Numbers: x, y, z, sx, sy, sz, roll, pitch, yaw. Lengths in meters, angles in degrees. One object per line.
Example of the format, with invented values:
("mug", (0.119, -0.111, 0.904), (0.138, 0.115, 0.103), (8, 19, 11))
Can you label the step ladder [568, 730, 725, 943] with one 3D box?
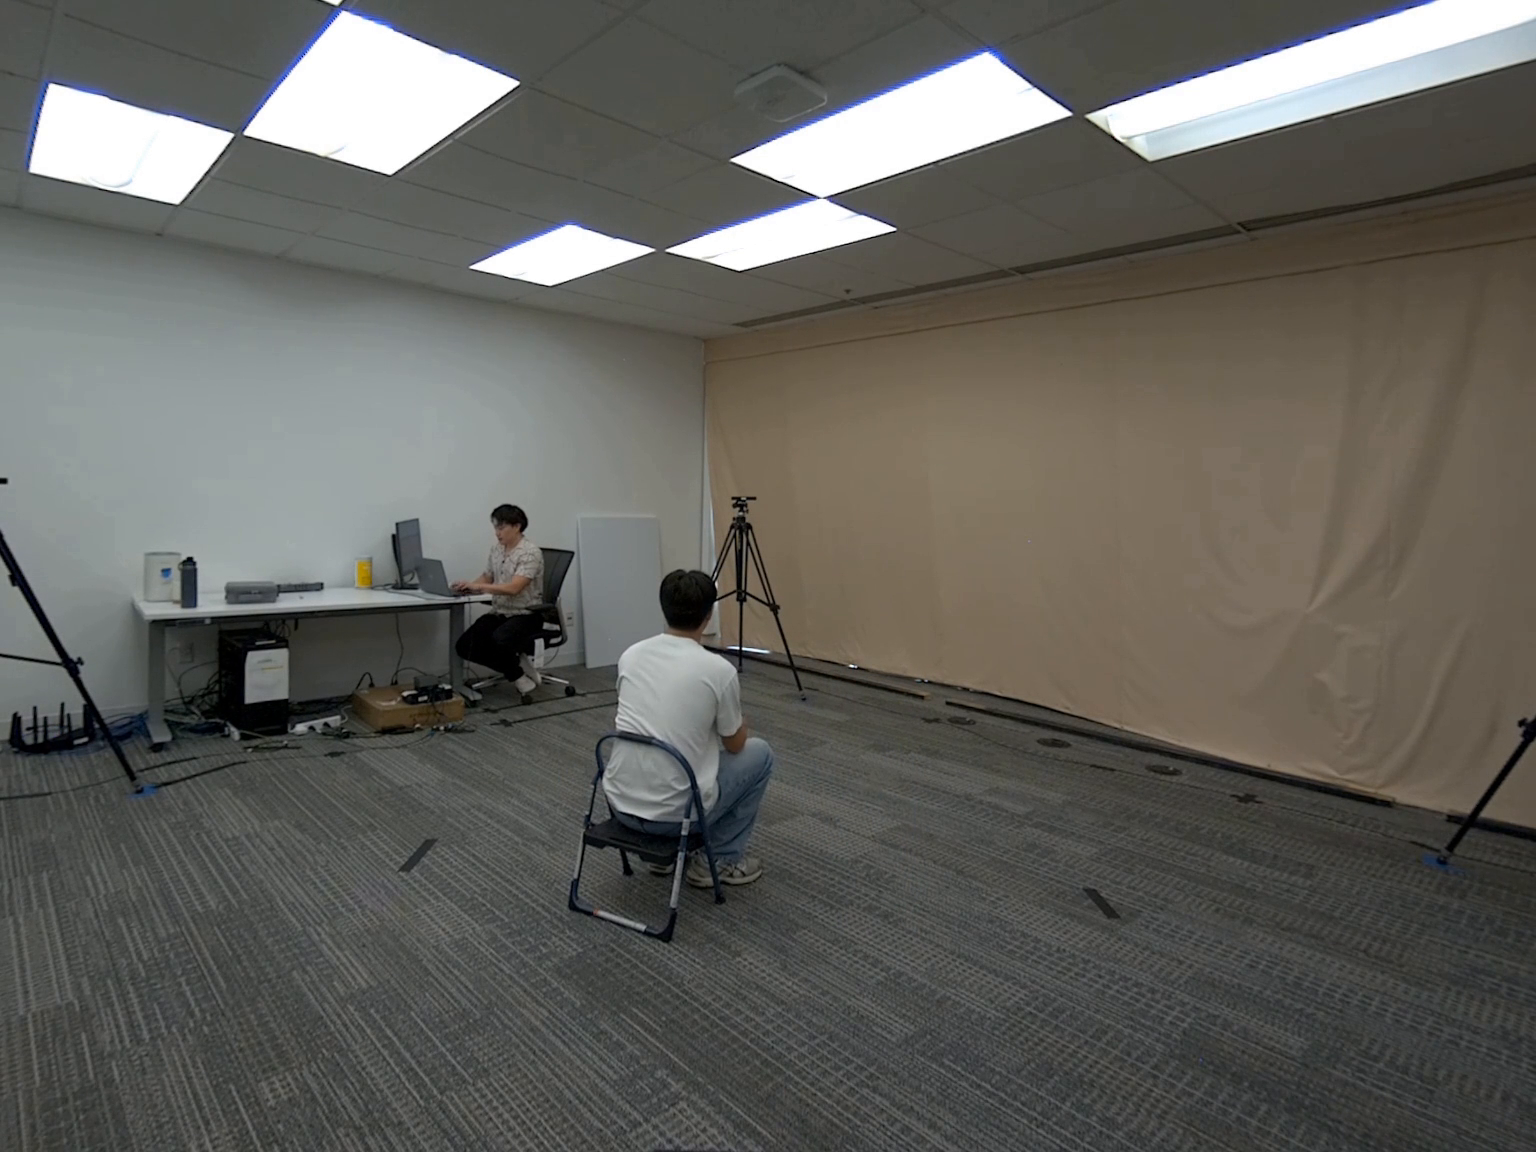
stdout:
("step ladder", (-0.419, 0.825, 2.848), (0.440, 0.604, 0.343), (2, 4, 29))
